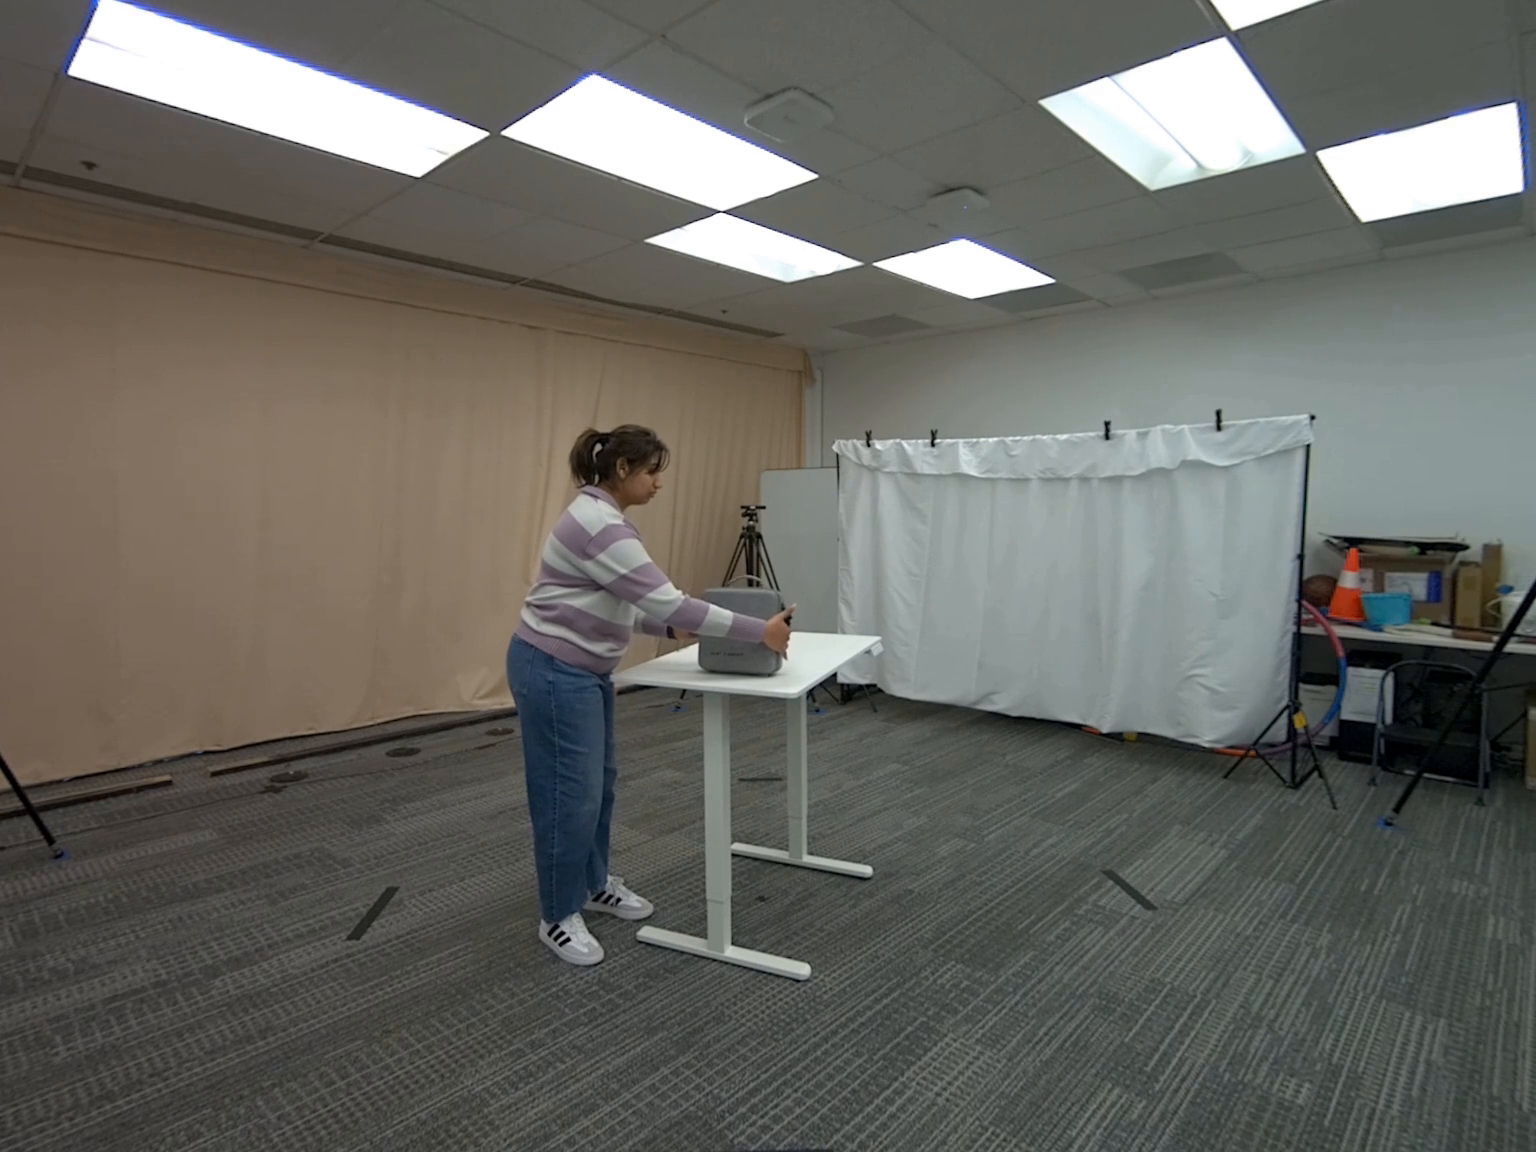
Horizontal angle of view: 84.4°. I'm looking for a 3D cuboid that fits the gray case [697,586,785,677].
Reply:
[{"bbox_3d":[-0.078,0.157,2.577,0.261,0.261,0.102,0,-3,16],"label":"gray case"}]
